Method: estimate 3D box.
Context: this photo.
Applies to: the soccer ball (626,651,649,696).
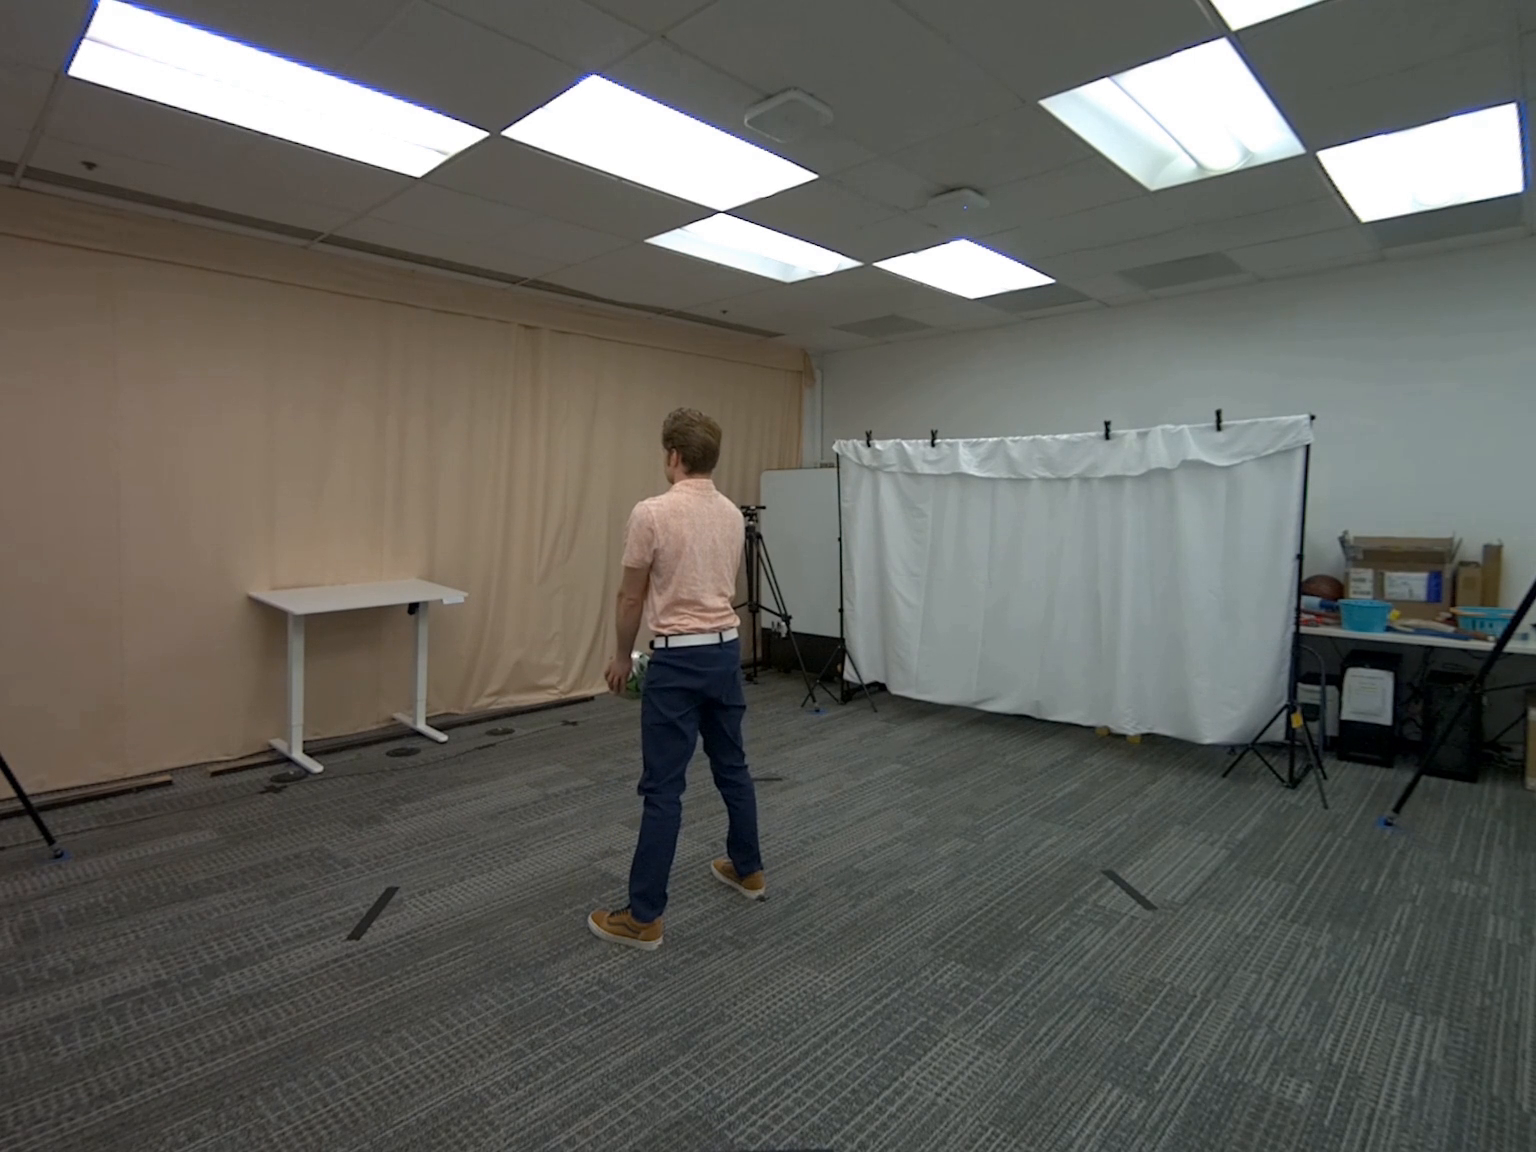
[{"bbox_3d":[-0.492,0.360,3.082,0.187,0.187,0.188,0,4,-2],"label":"soccer ball"}]
